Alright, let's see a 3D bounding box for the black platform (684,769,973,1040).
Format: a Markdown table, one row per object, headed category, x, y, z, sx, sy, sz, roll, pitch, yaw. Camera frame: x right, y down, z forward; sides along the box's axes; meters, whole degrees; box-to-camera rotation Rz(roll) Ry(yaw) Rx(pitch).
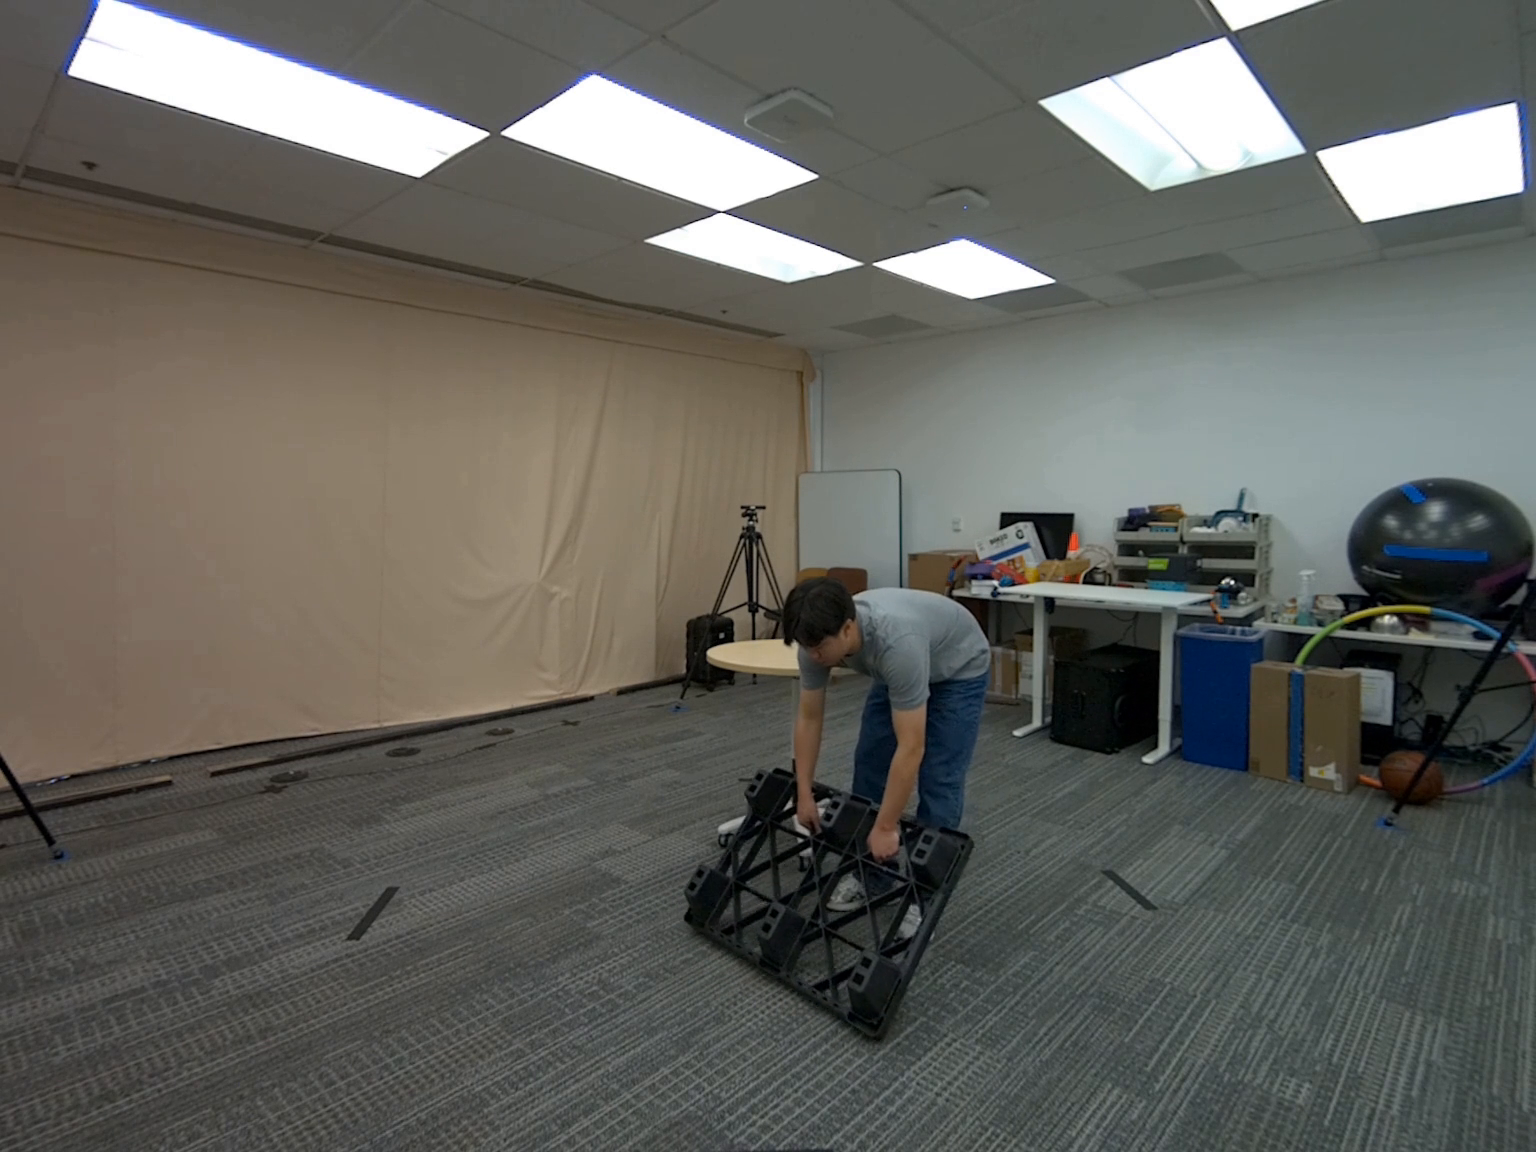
| category | x | y | z | sx | sy | sz | roll | pitch | yaw |
| --- | --- | --- | --- | --- | --- | --- | --- | --- | --- |
| black platform | 0.141 | 0.896 | 2.560 | 0.832 | 0.603 | 0.139 | 5 | -38 | 47 |
